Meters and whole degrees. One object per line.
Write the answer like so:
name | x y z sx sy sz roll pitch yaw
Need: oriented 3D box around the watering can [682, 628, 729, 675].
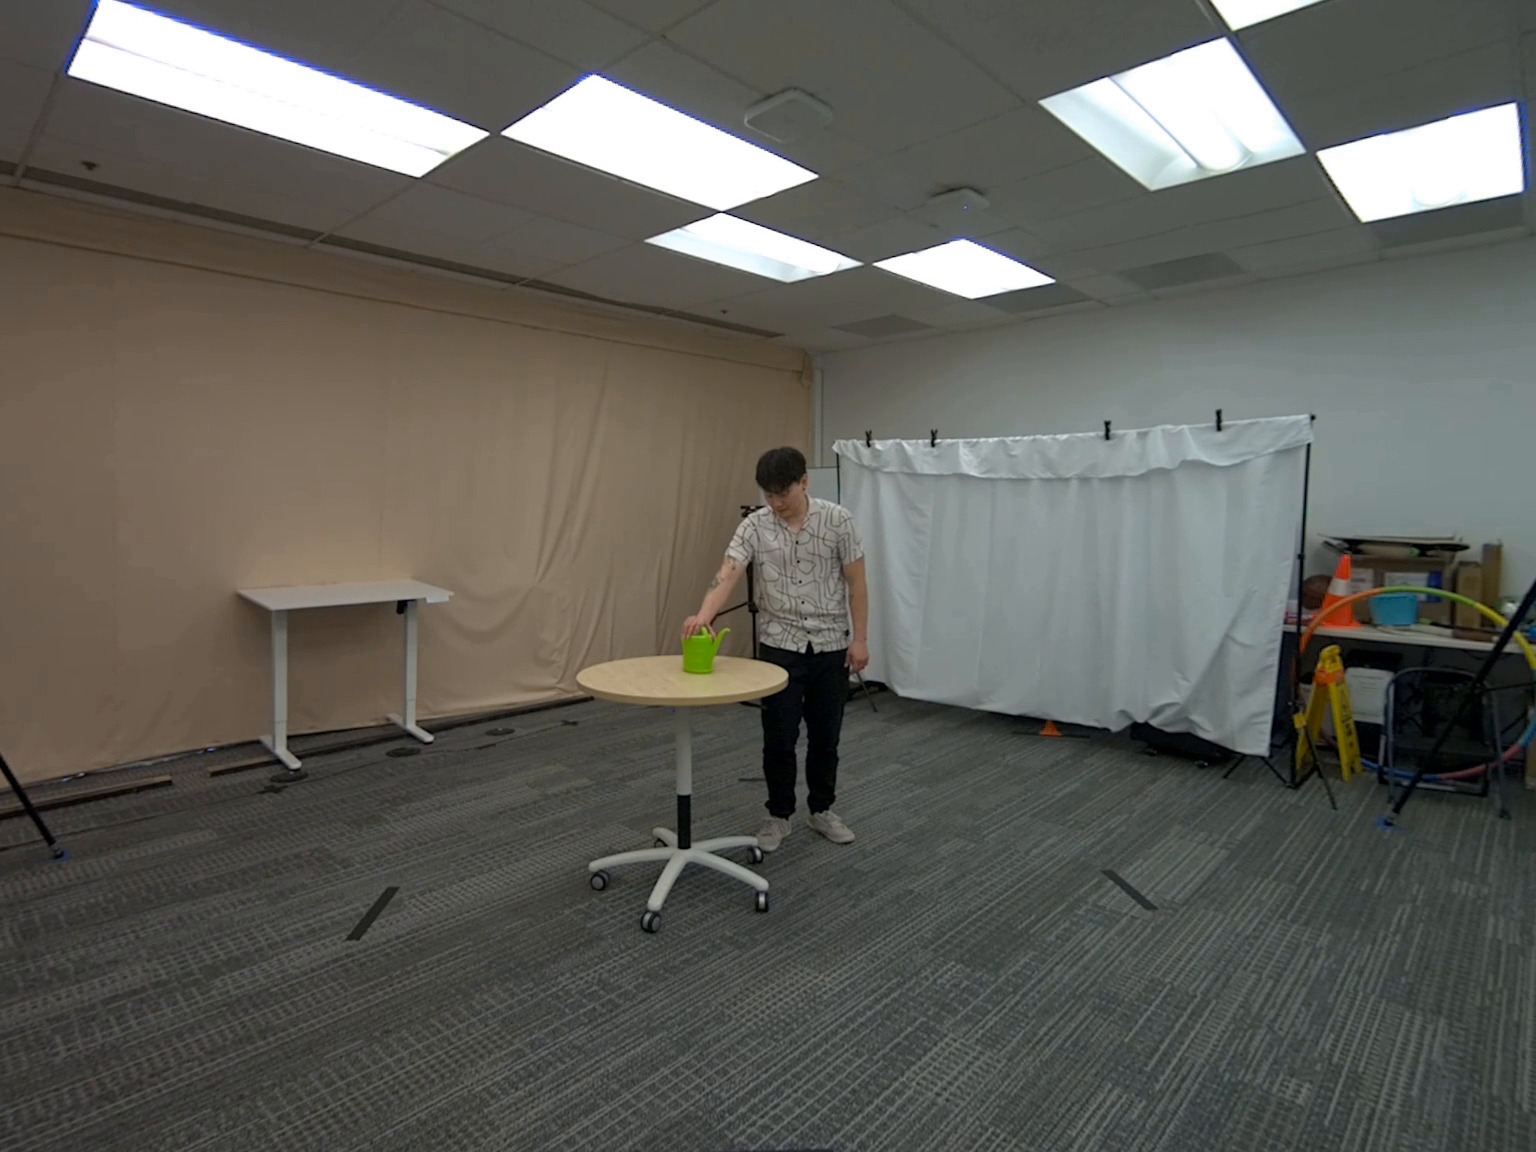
watering can | -0.235 0.267 3.072 0.095 0.177 0.285 1 0 -27
